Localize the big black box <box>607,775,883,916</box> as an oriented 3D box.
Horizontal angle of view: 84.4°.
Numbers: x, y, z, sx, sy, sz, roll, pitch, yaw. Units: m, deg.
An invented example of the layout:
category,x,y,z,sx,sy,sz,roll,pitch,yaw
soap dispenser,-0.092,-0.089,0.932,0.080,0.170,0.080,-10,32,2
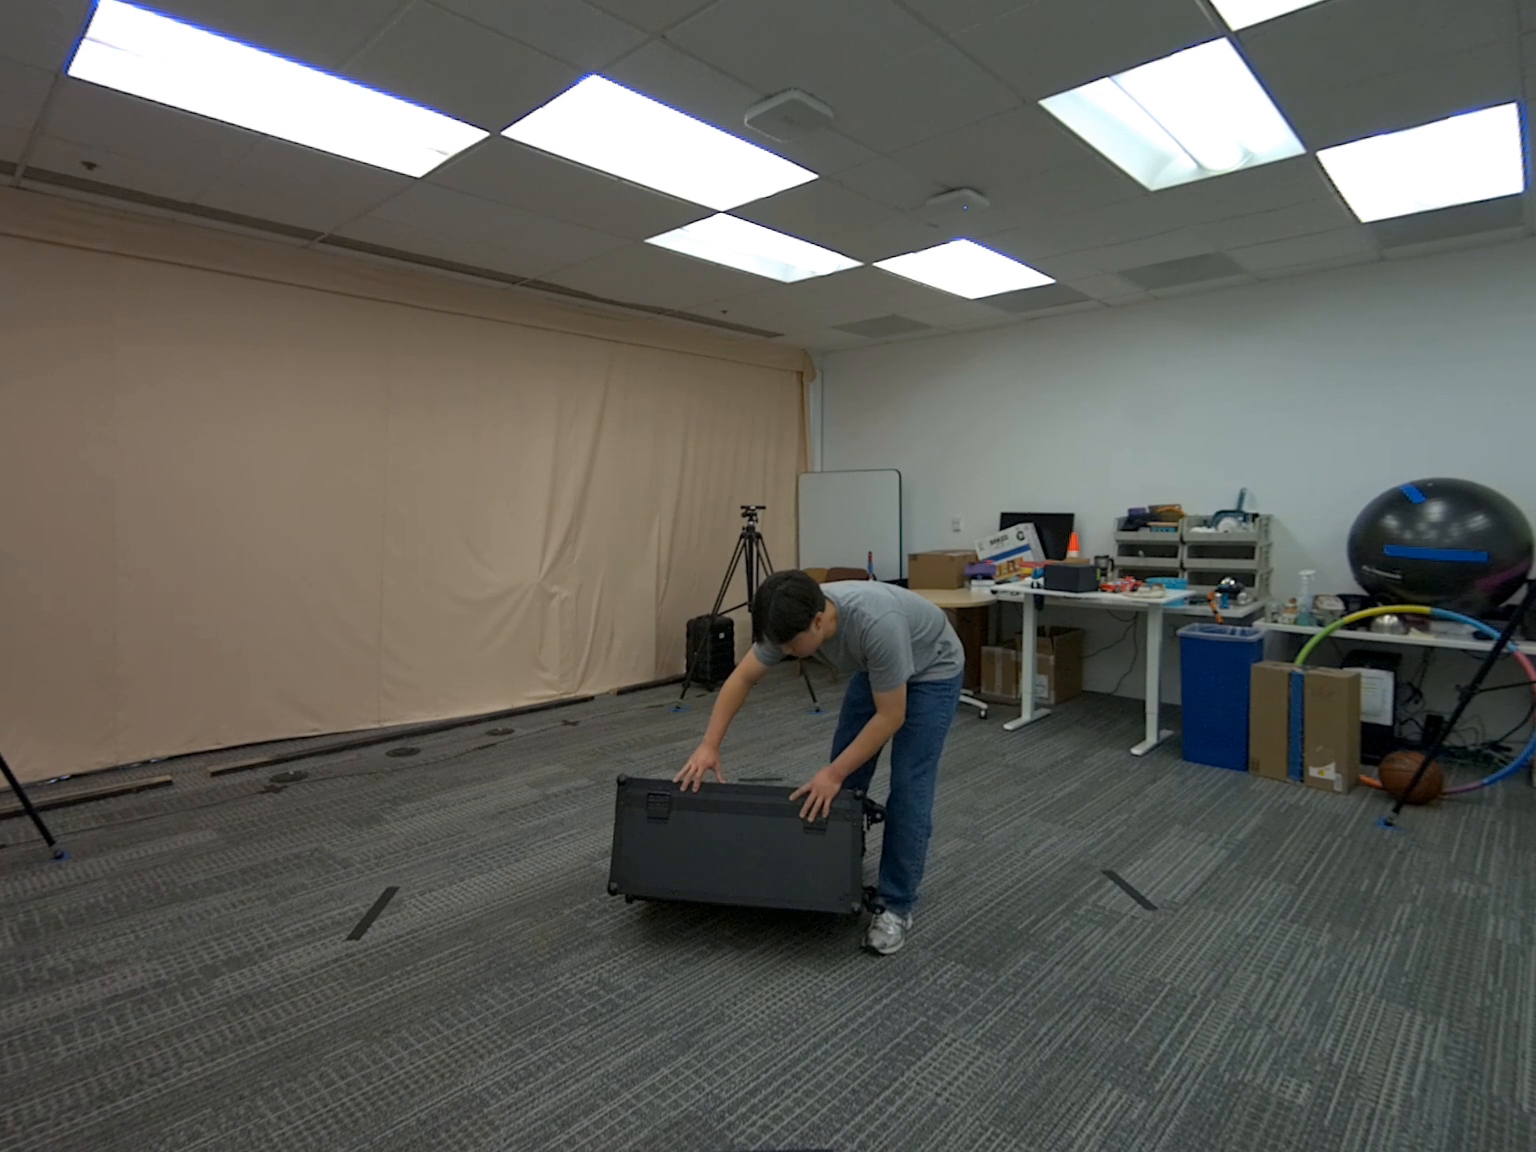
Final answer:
category,x,y,z,sx,sy,sz,roll,pitch,yaw
big black box,-0.050,0.902,2.812,0.871,0.400,0.510,1,-18,9
